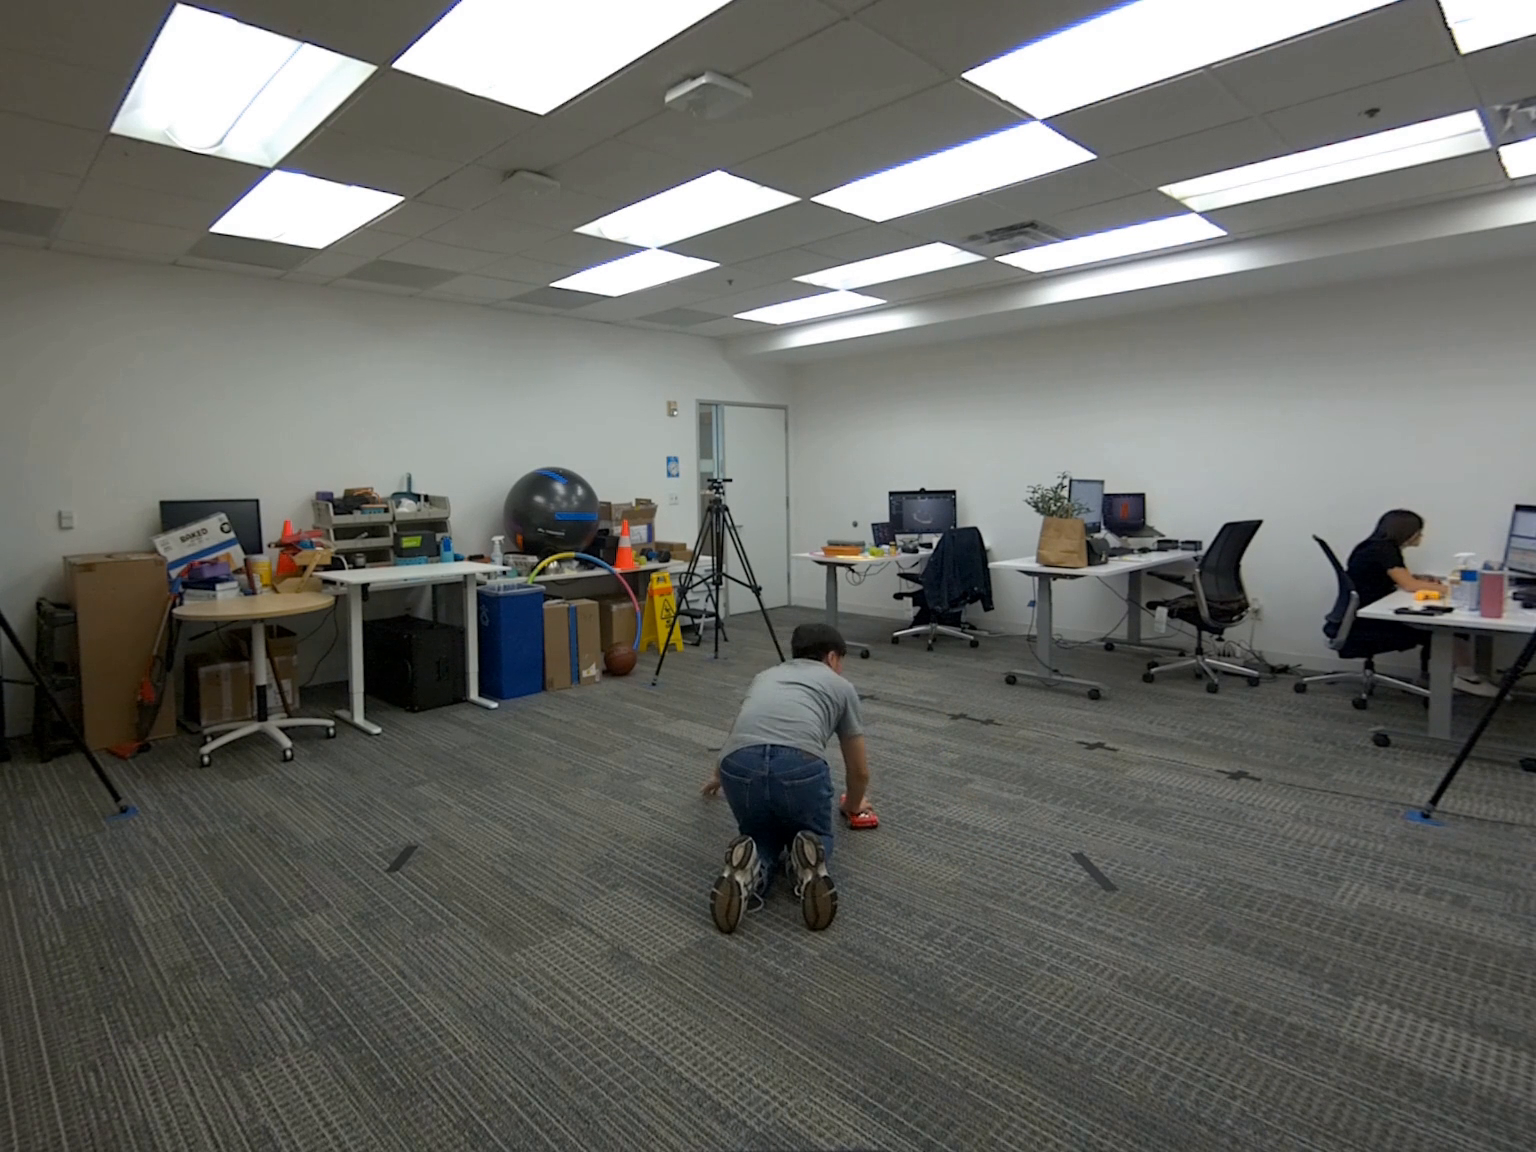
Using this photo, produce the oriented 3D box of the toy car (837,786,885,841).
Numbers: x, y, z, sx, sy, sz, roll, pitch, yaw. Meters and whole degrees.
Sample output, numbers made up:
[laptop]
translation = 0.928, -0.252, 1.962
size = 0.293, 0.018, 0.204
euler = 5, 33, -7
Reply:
[toy car]
translation = 0.375, 0.967, 3.506
size = 0.130, 0.082, 0.259
euler = 0, 17, -6
